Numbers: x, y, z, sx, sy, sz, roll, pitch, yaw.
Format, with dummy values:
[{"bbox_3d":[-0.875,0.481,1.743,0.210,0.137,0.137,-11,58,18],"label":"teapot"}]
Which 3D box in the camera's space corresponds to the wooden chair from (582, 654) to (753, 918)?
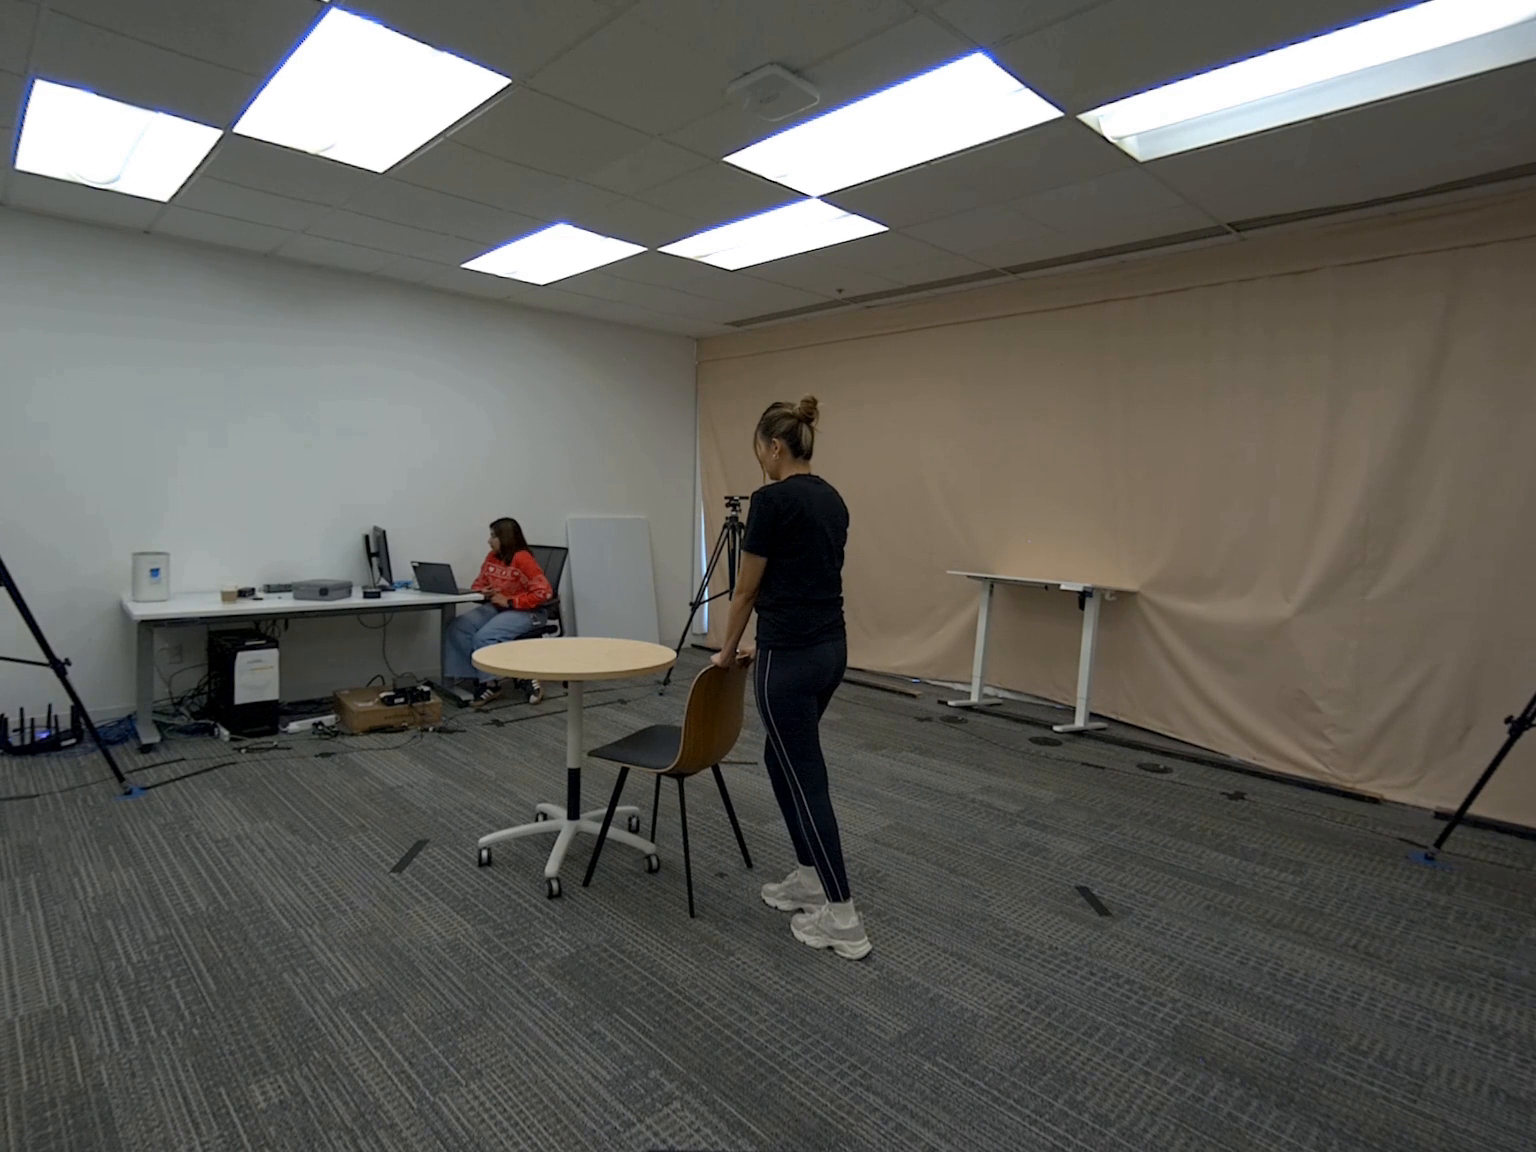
[{"bbox_3d":[-0.356,0.676,3.046,0.534,0.874,0.470,8,6,26],"label":"wooden chair"}]
